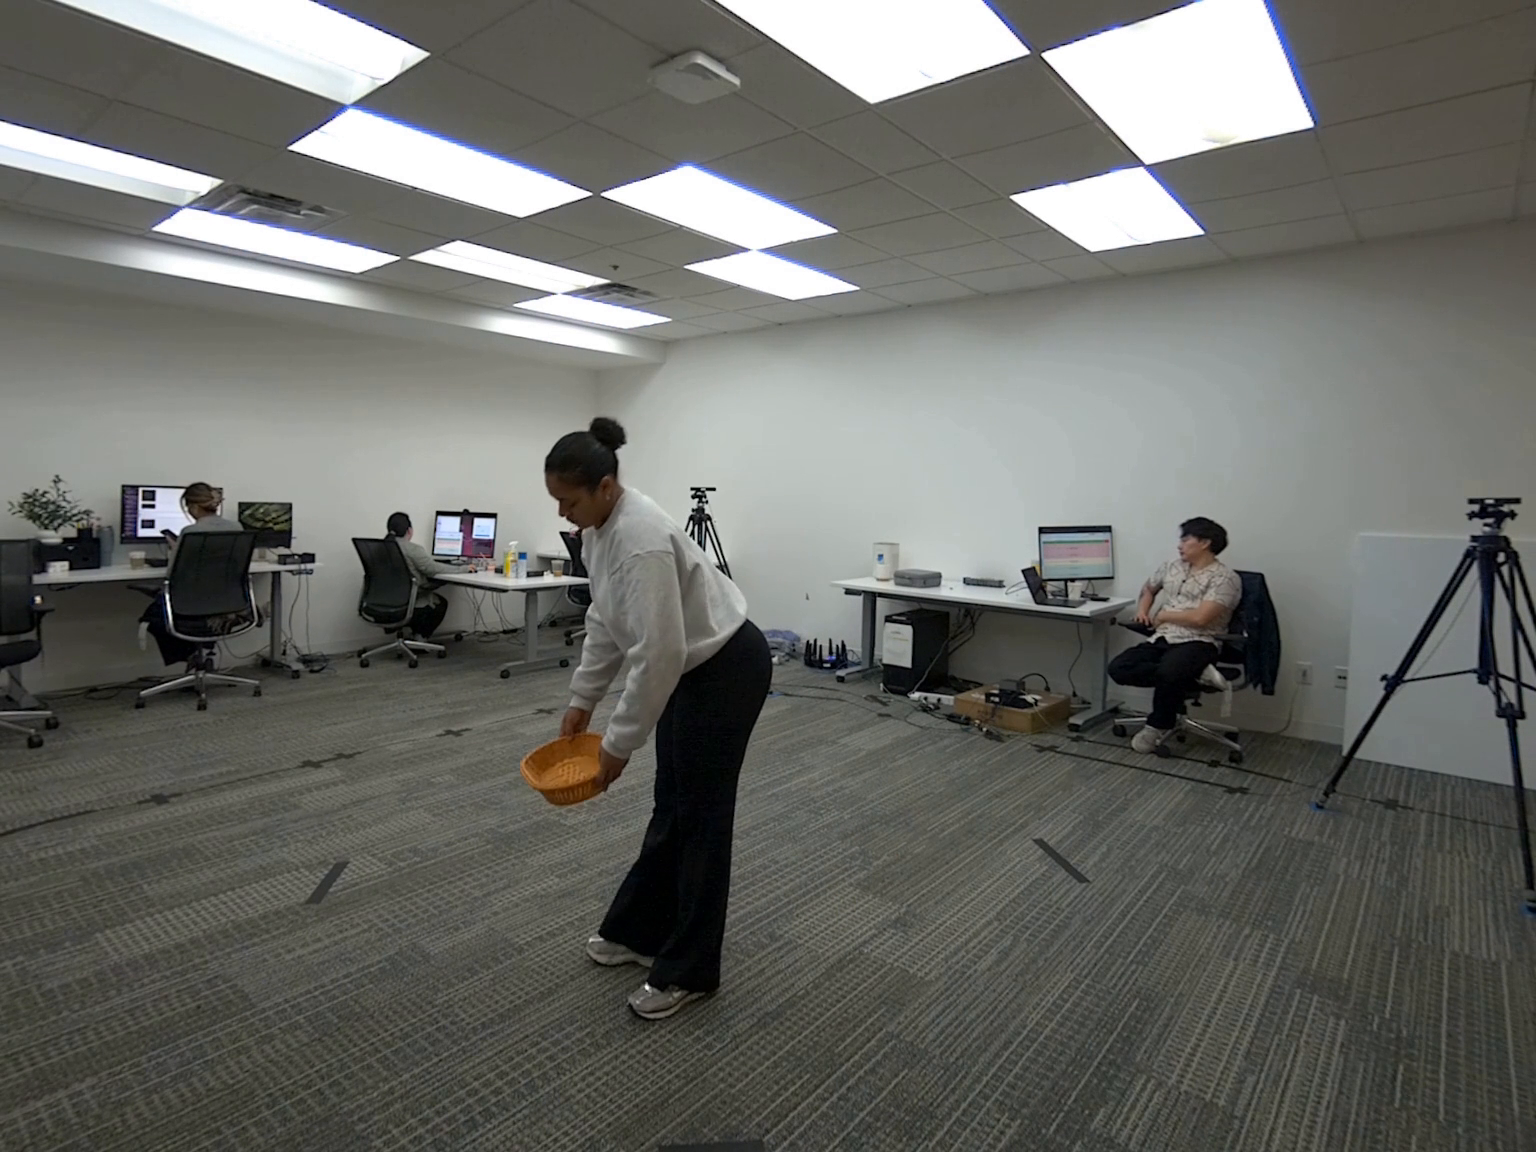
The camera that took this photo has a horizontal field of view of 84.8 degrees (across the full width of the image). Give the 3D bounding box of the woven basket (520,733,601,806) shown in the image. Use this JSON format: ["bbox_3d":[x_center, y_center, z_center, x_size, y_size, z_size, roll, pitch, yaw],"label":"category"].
[{"bbox_3d":[-0.537,0.523,2.276,0.248,0.072,0.360,-17,12,-25],"label":"woven basket"}]
